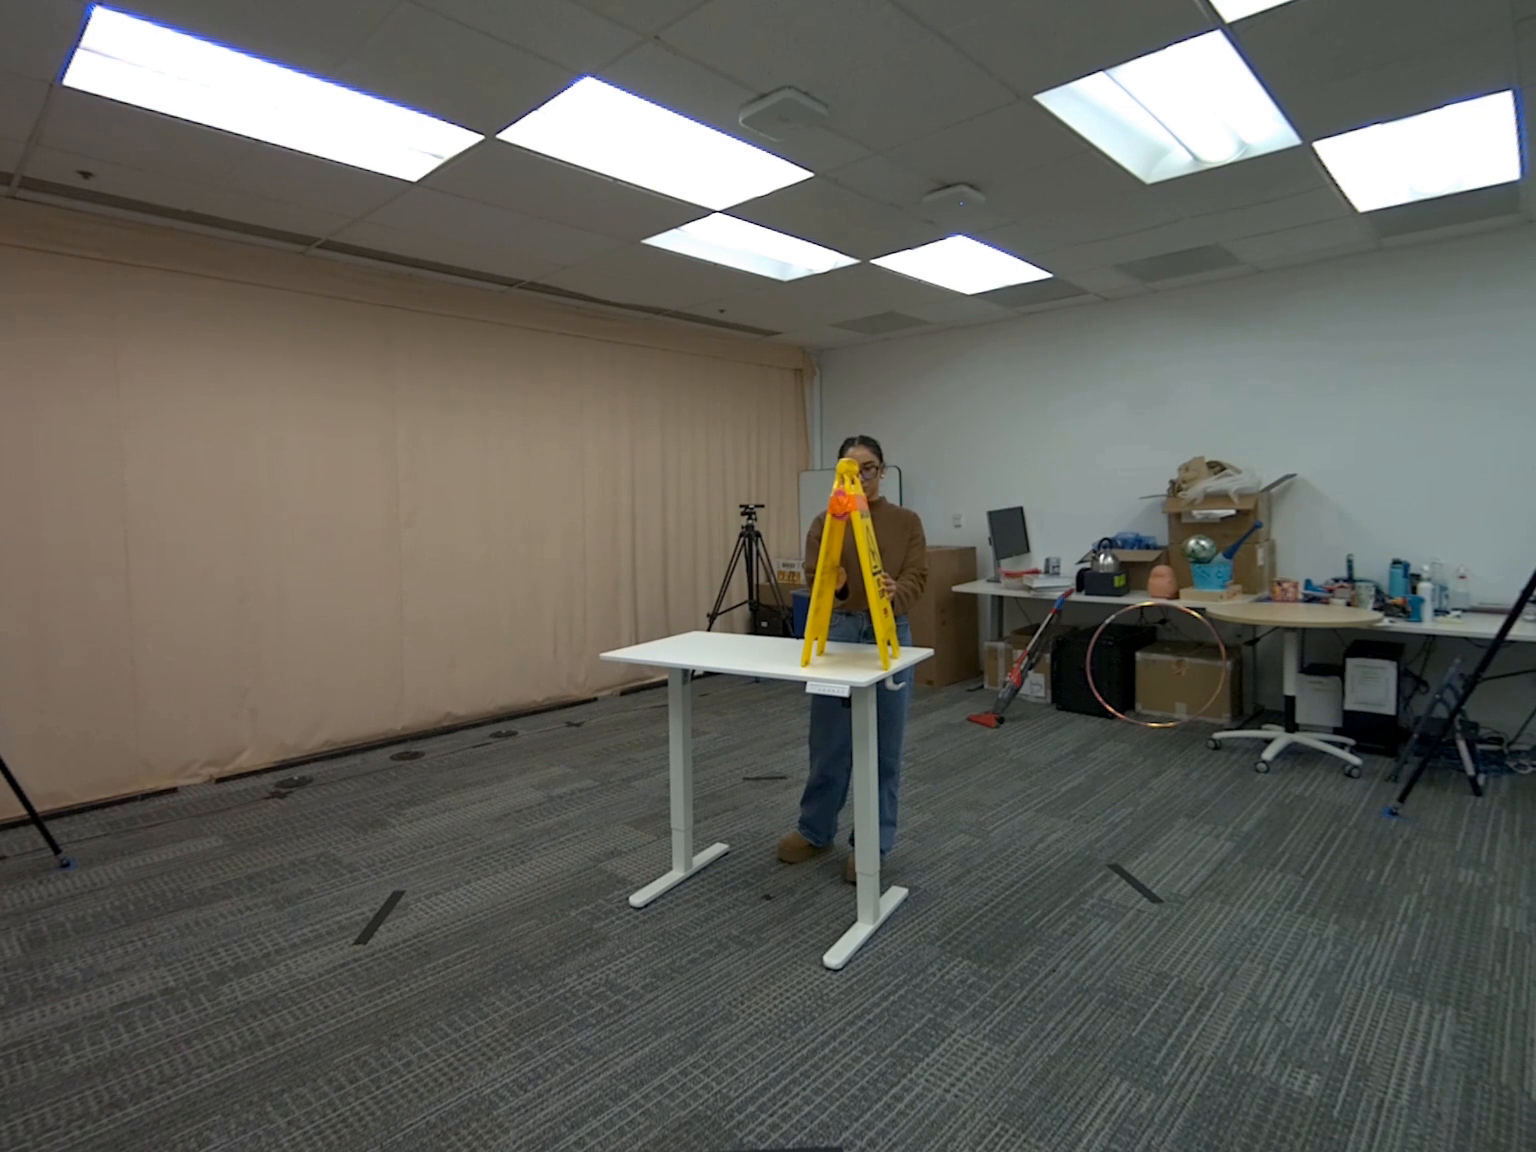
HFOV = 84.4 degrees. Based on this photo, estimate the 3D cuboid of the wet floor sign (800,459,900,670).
[{"bbox_3d":[0.269,-0.047,2.692,0.296,0.644,0.277,0,5,19],"label":"wet floor sign"}]
